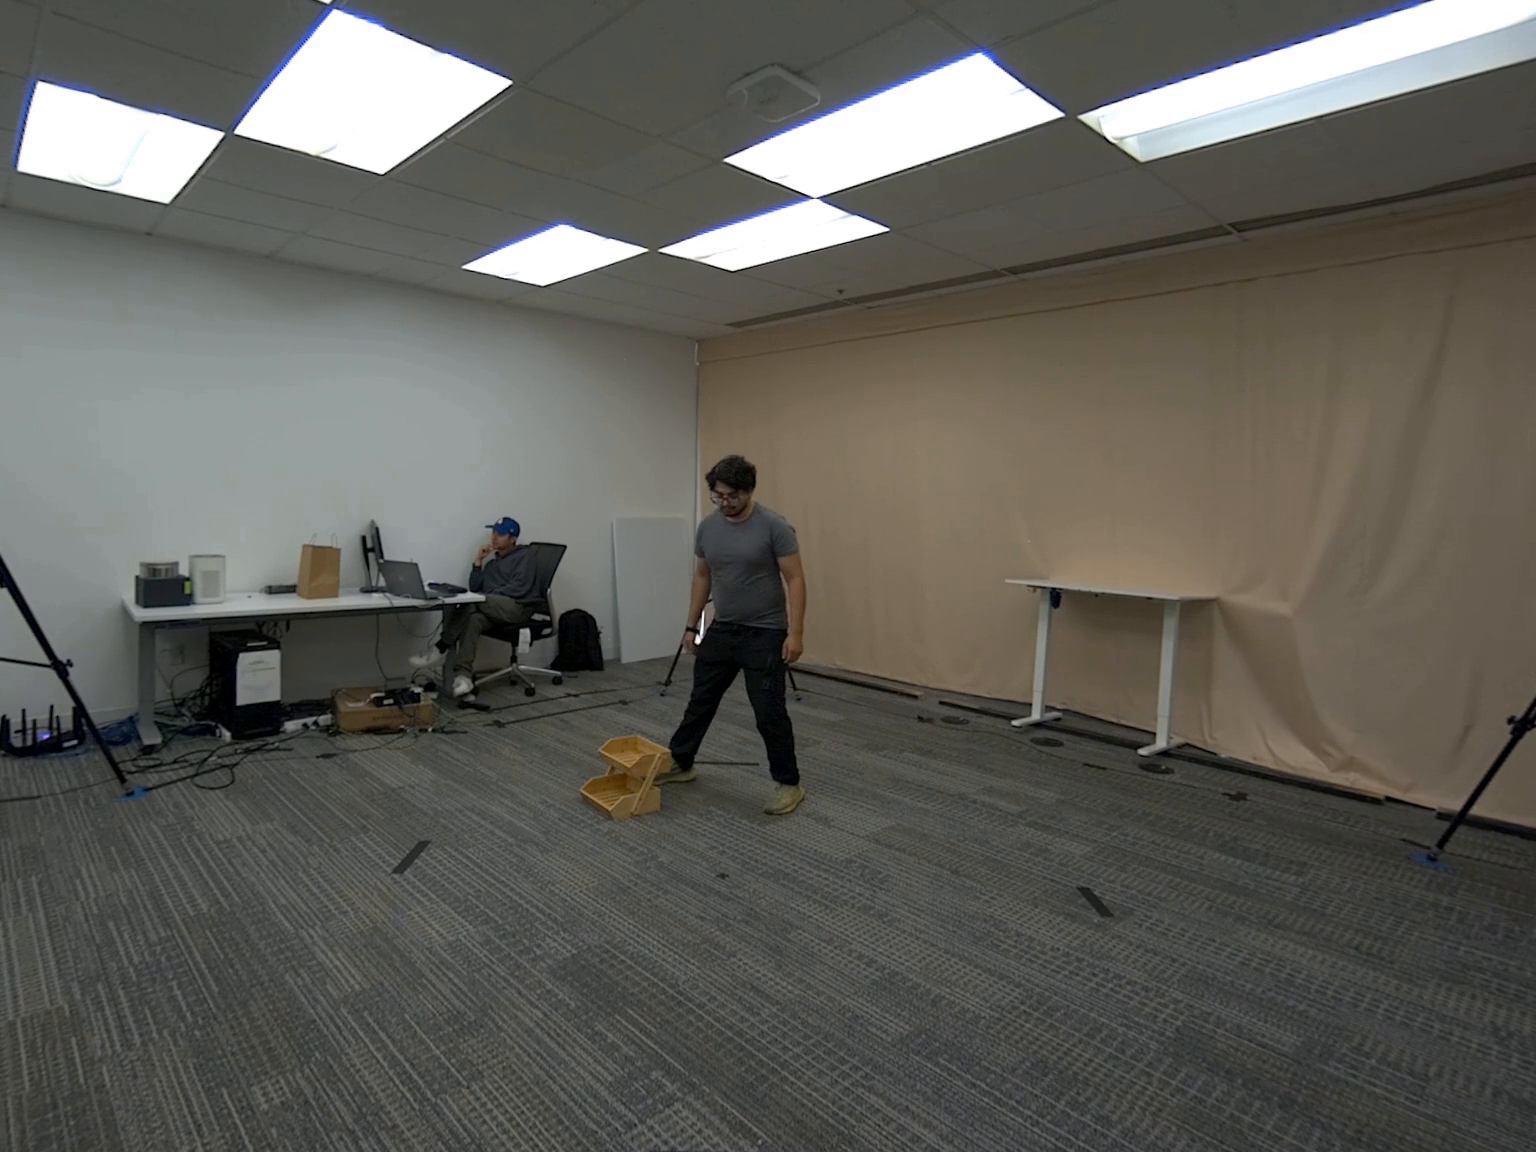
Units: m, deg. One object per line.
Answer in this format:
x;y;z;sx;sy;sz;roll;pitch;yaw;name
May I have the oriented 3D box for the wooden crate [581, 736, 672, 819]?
-0.664;0.900;3.808;0.295;0.273;0.332;-1;5;-38;wooden crate
